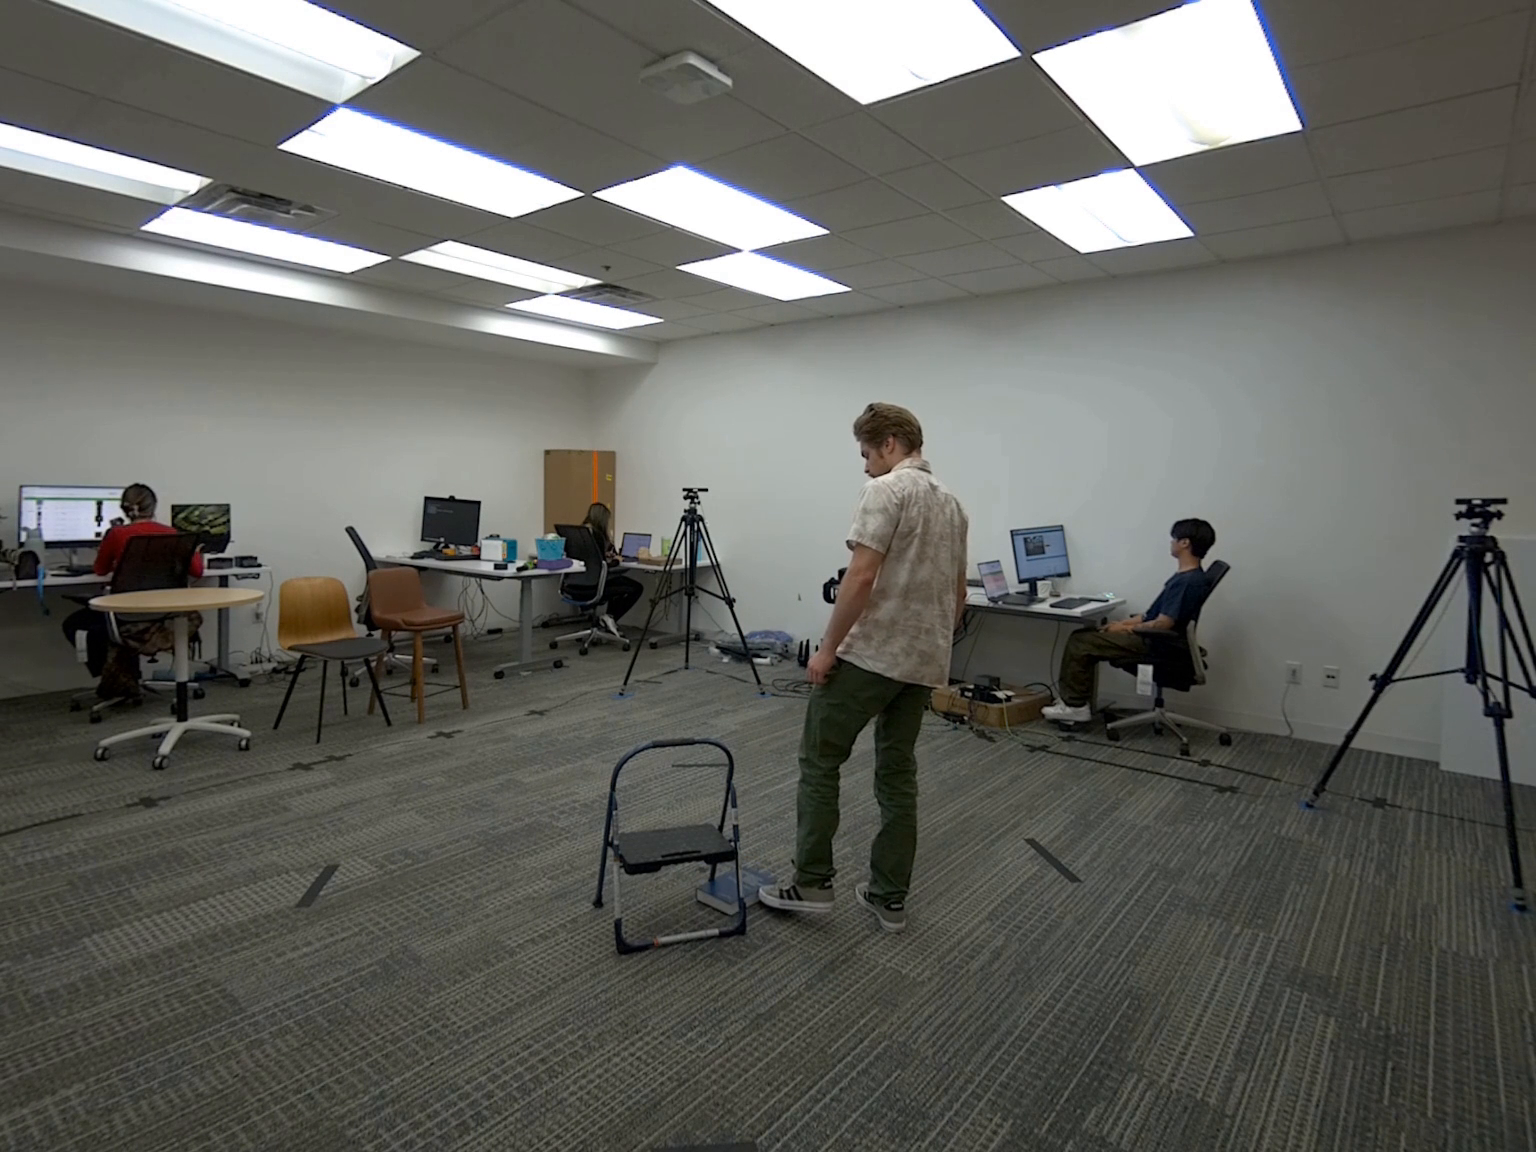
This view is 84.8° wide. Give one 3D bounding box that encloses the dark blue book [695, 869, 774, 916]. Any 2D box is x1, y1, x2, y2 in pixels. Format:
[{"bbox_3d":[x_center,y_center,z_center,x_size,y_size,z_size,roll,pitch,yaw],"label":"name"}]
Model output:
[{"bbox_3d":[-0.113,1.067,2.902,0.169,0.045,0.238,6,7,41],"label":"dark blue book"}]
